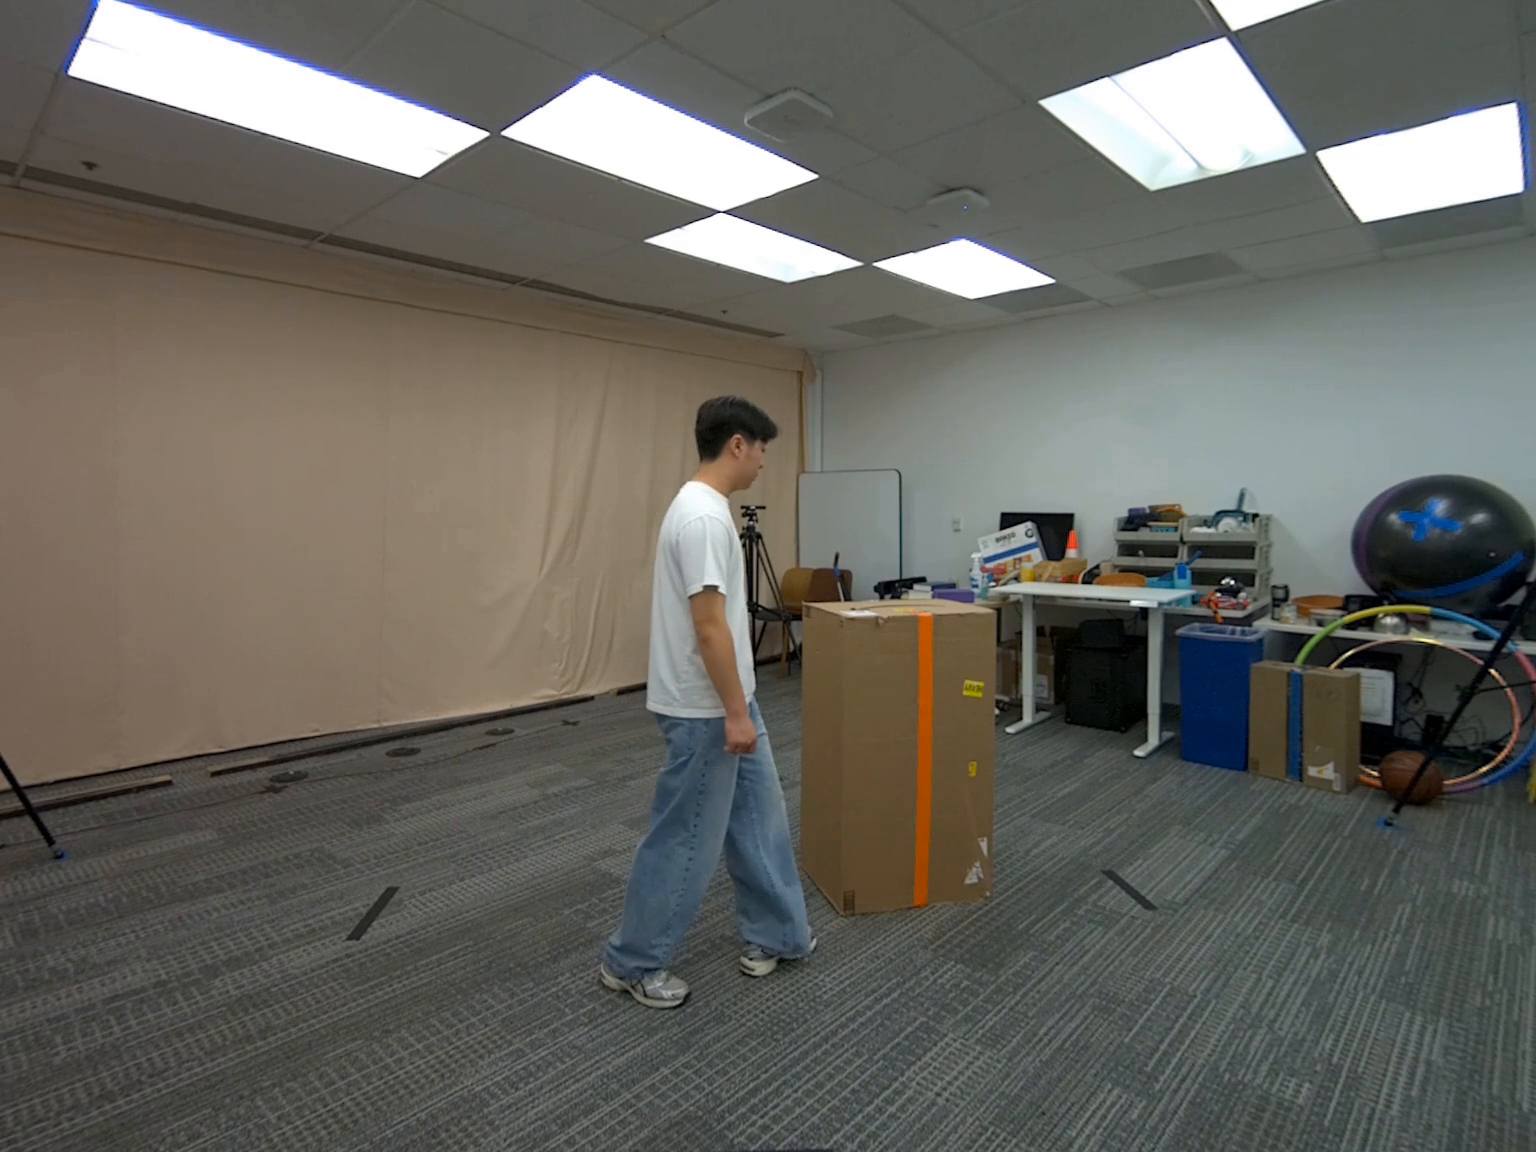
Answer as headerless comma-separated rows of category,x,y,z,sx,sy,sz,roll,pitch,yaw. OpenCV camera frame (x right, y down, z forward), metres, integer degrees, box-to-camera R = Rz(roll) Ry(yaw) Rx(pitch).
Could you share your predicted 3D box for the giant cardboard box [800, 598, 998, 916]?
giant cardboard box,0.467,0.622,3.096,0.568,1.024,0.434,-1,3,-16
